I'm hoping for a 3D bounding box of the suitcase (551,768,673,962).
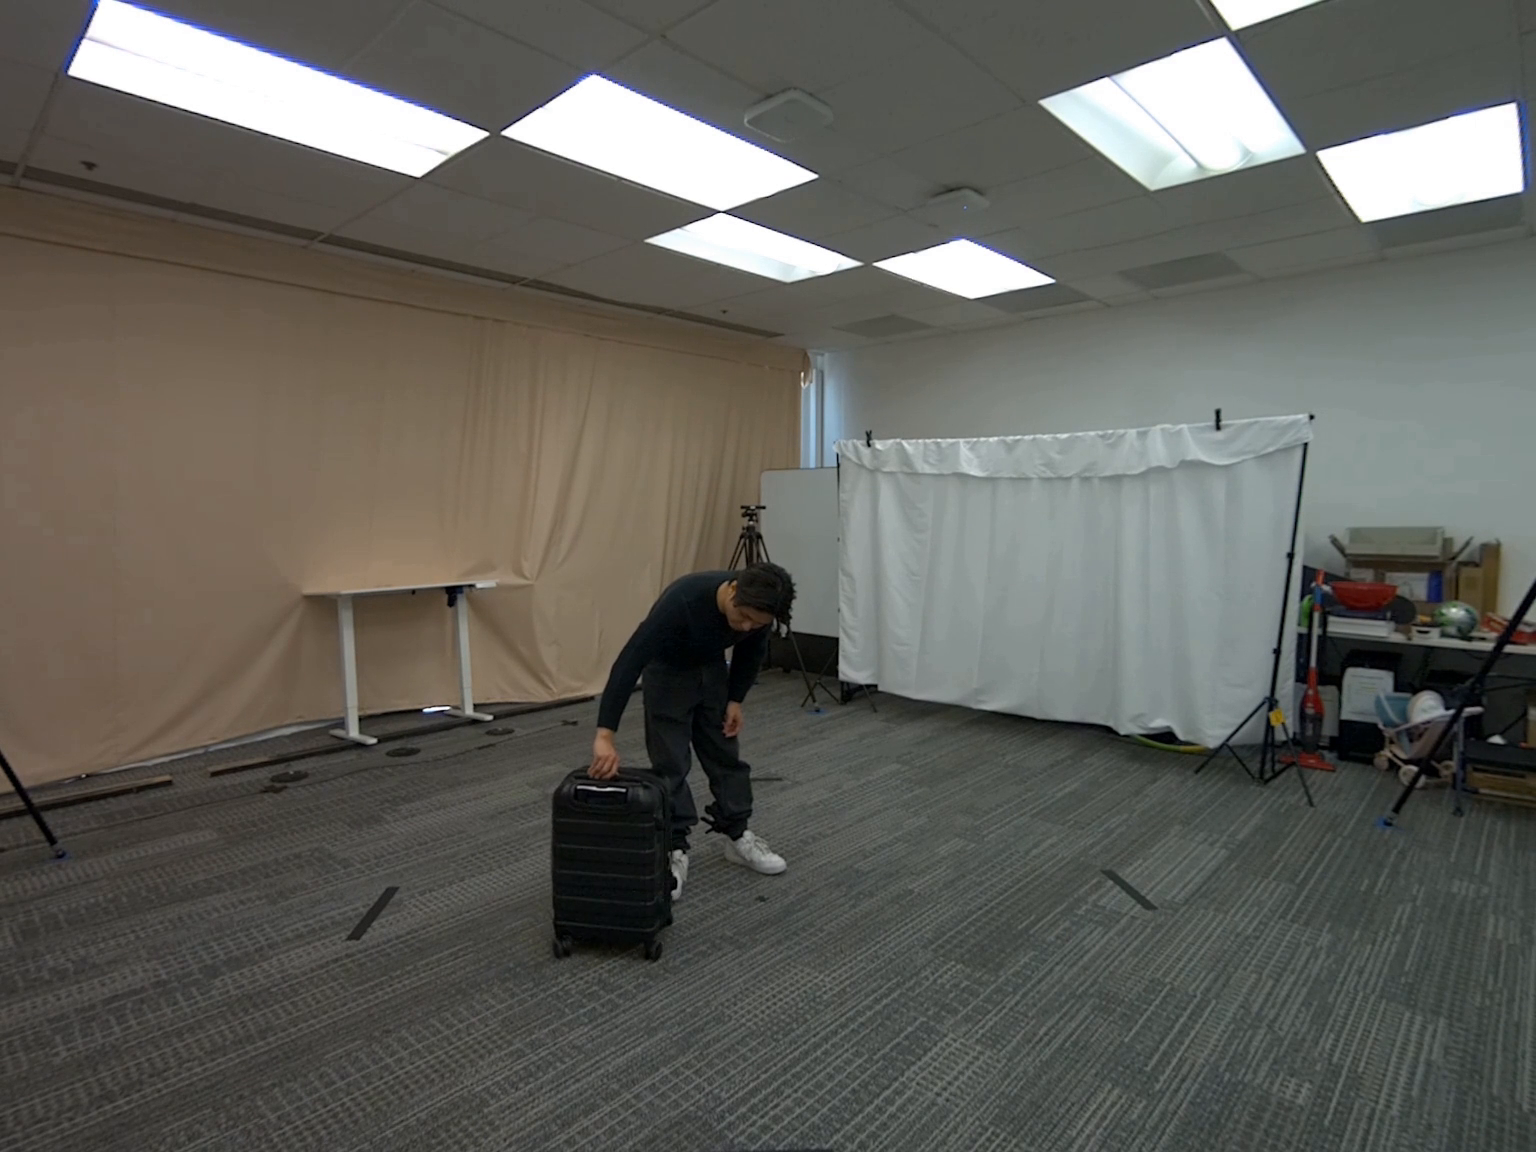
[{"bbox_3d":[-0.501,0.892,2.695,0.379,0.549,0.246,-1,1,9],"label":"suitcase"}]
